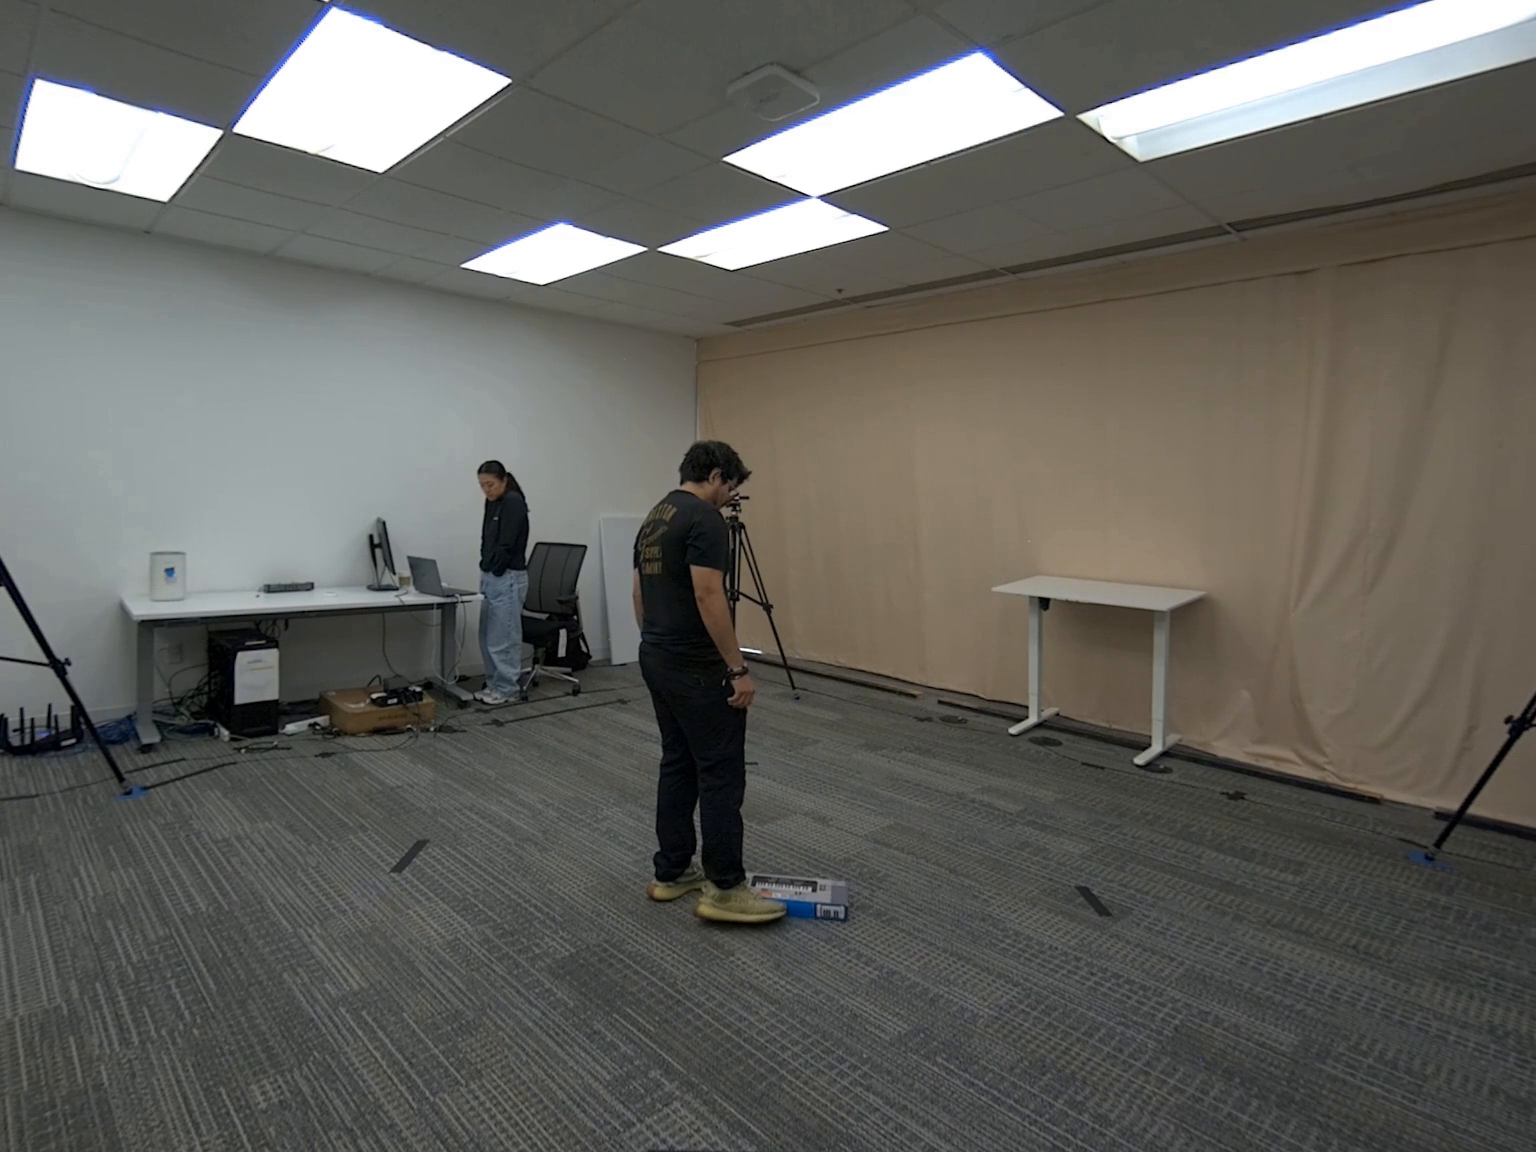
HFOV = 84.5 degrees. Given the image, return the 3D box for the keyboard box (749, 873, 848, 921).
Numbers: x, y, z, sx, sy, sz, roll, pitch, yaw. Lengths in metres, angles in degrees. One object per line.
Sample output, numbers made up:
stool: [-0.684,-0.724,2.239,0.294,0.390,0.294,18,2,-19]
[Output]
keyboard box: [0.046,1.100,2.886,0.440,0.059,0.175,2,6,9]
